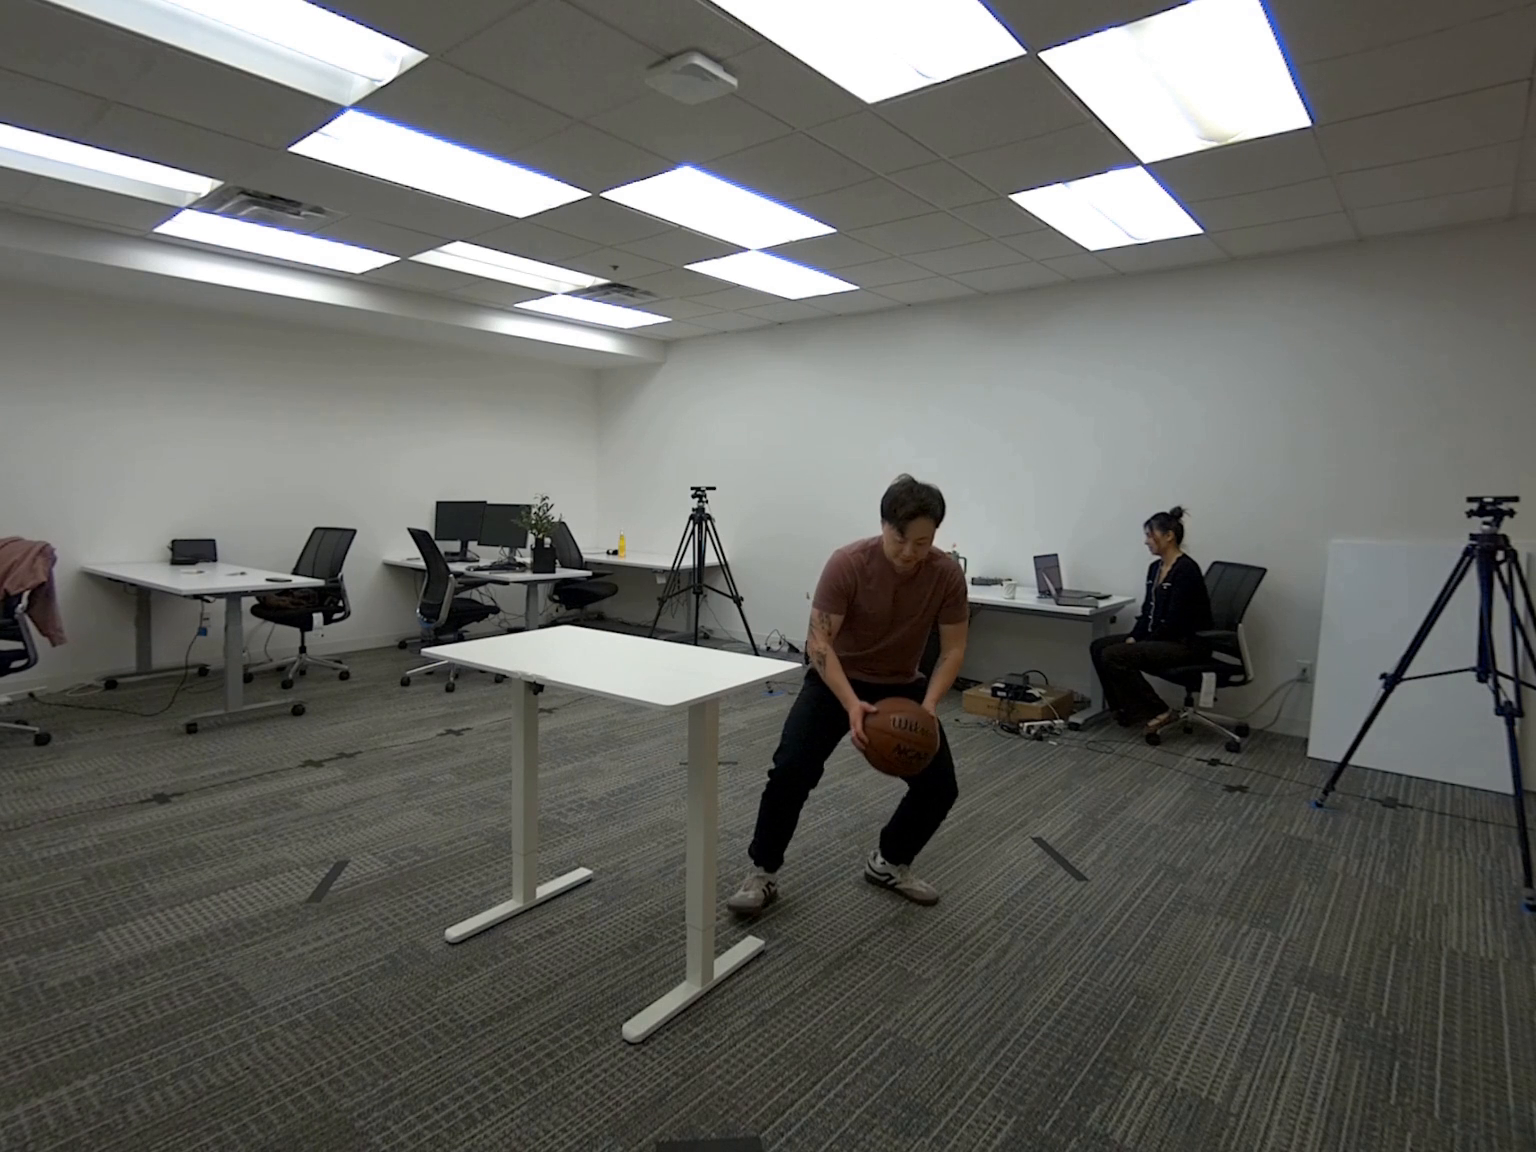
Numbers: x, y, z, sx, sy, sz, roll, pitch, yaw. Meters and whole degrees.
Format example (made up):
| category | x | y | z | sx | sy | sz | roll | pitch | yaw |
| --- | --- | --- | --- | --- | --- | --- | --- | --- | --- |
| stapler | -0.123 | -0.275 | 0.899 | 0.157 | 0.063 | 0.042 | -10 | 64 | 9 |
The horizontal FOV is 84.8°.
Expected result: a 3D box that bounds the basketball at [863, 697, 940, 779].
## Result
| category | x | y | z | sx | sy | sz | roll | pitch | yaw |
| --- | --- | --- | --- | --- | --- | --- | --- | --- | --- |
| basketball | 0.378 | 0.485 | 2.579 | 0.235 | 0.235 | 0.237 | 1 | 4 | -2 |
